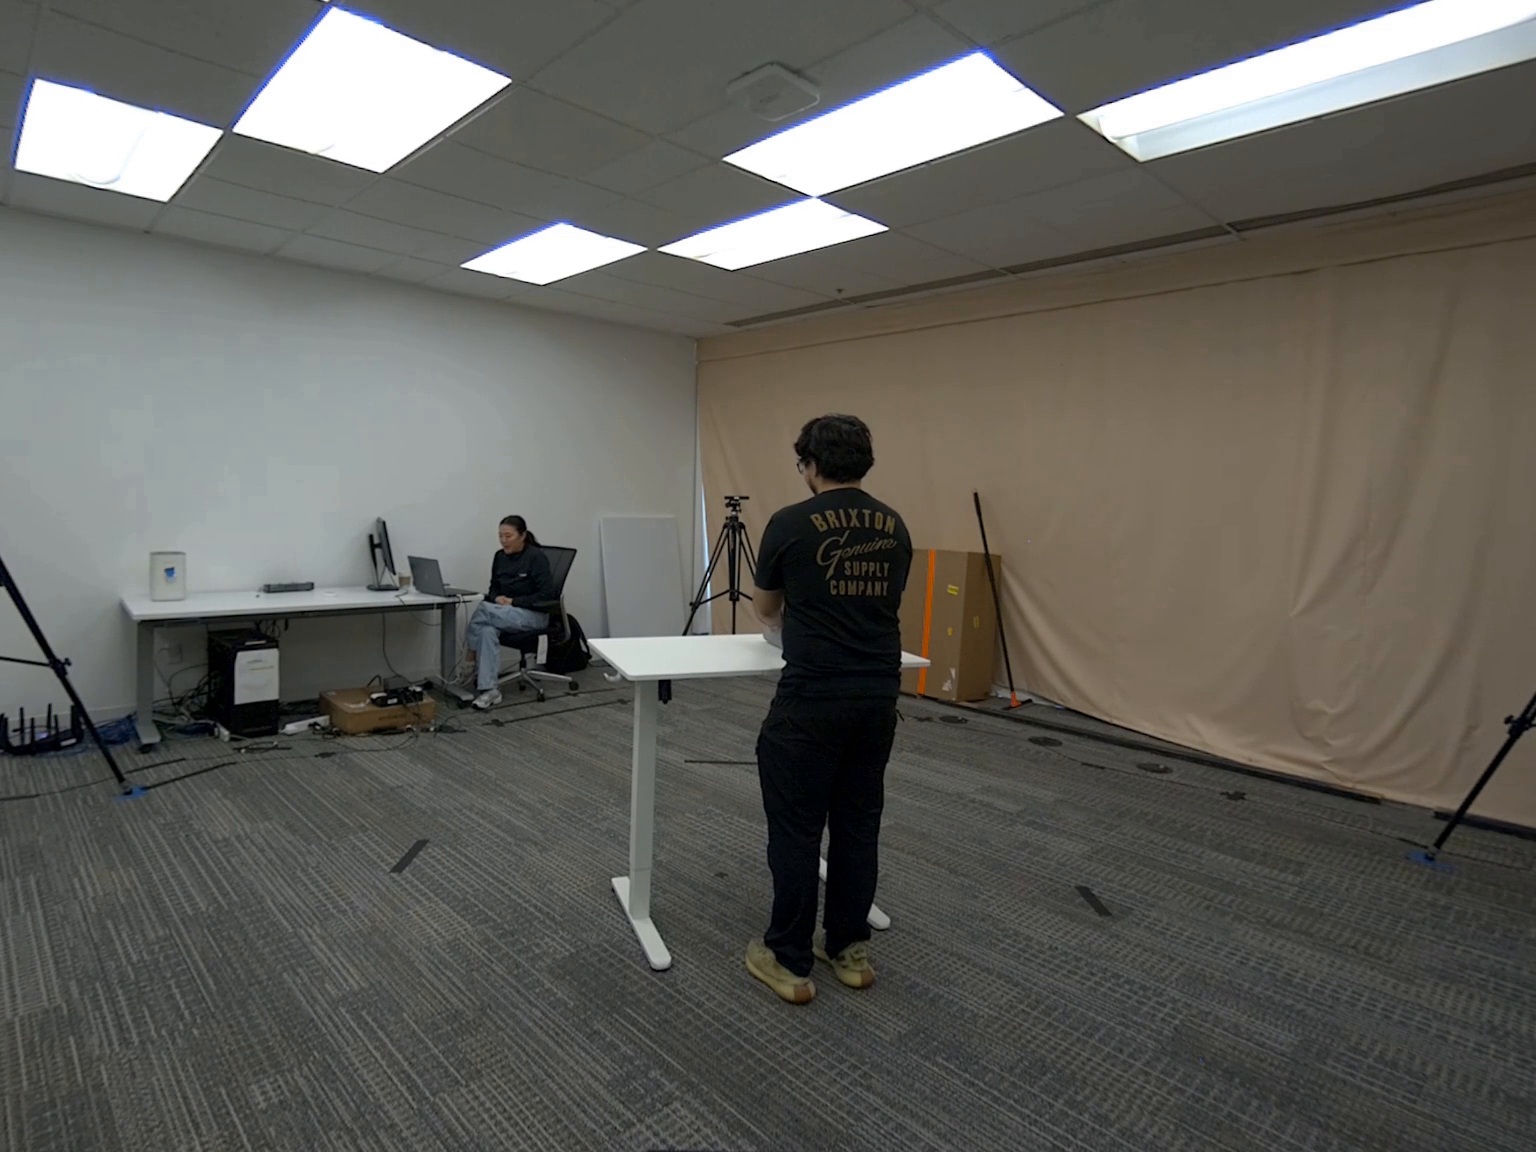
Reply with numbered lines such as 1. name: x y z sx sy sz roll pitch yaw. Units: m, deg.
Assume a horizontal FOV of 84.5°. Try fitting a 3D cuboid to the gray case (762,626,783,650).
1. gray case: 0.056 0.119 2.878 0.103 0.259 0.261 -8 8 -16
